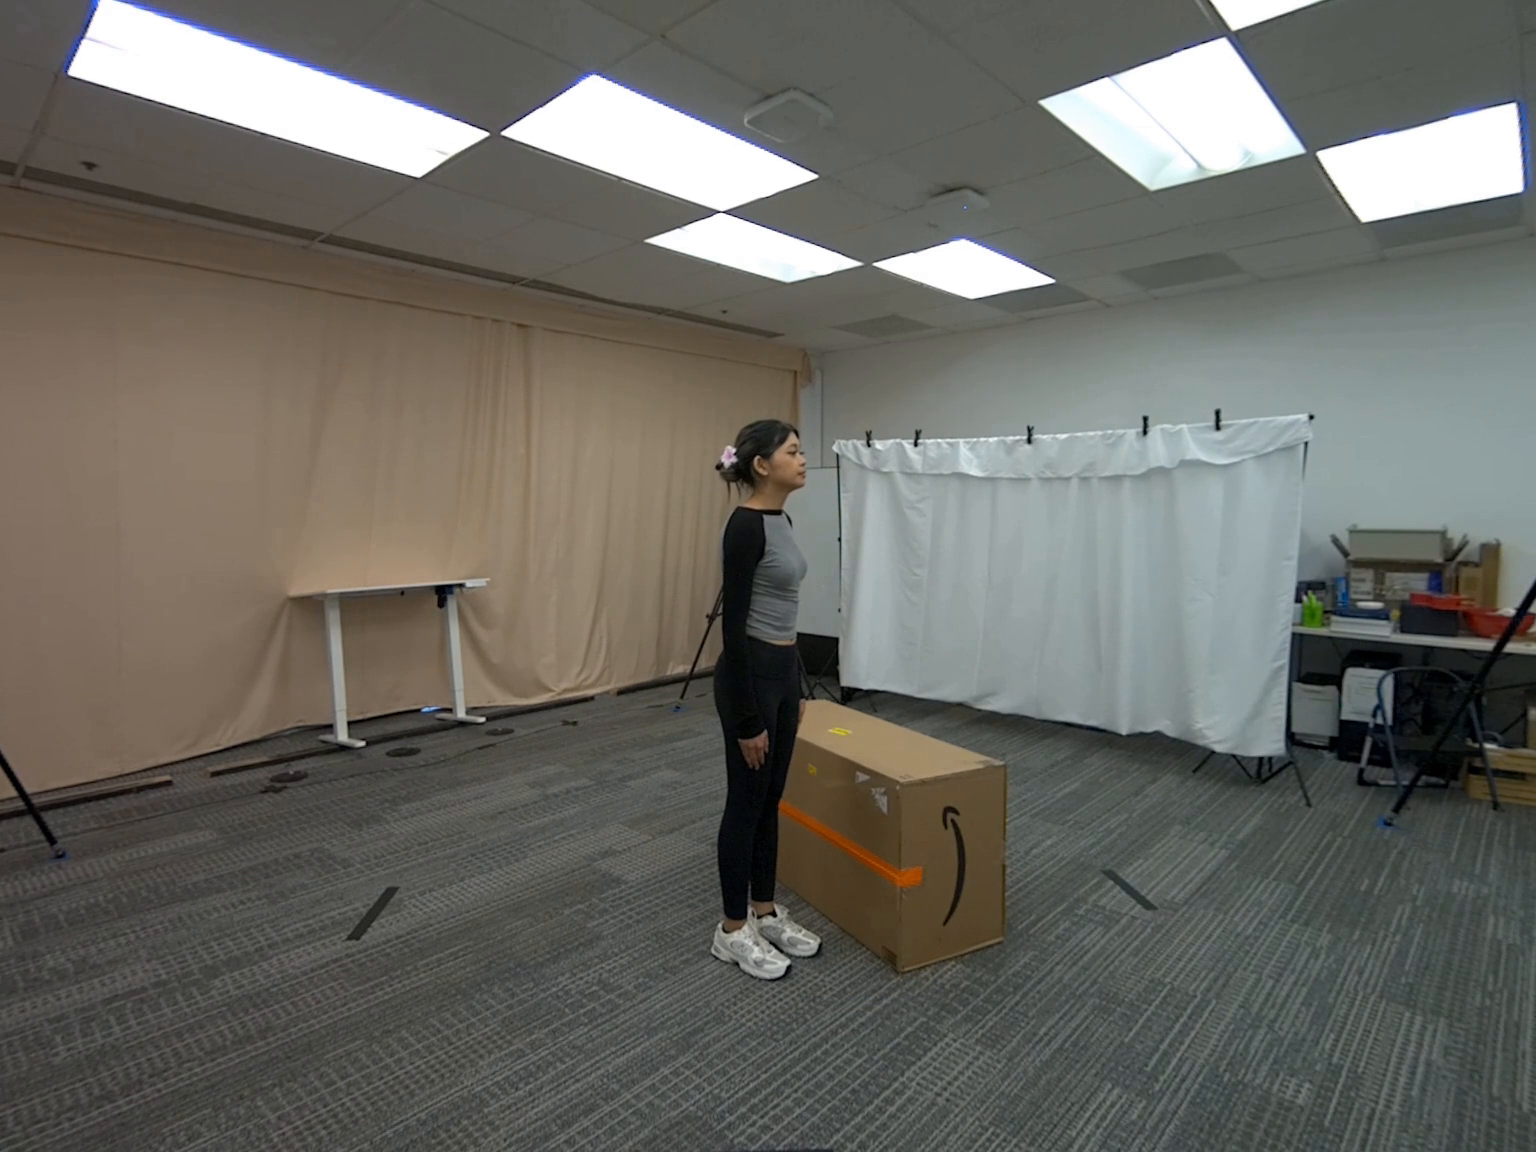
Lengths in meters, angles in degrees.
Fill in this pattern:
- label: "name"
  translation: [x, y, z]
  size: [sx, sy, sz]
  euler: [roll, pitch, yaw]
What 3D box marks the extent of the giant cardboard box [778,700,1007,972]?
- label: "giant cardboard box"
  translation: [0.318, 0.850, 3.036]
  size: [0.435, 0.582, 1.056]
  euler: [-3, 5, -29]
